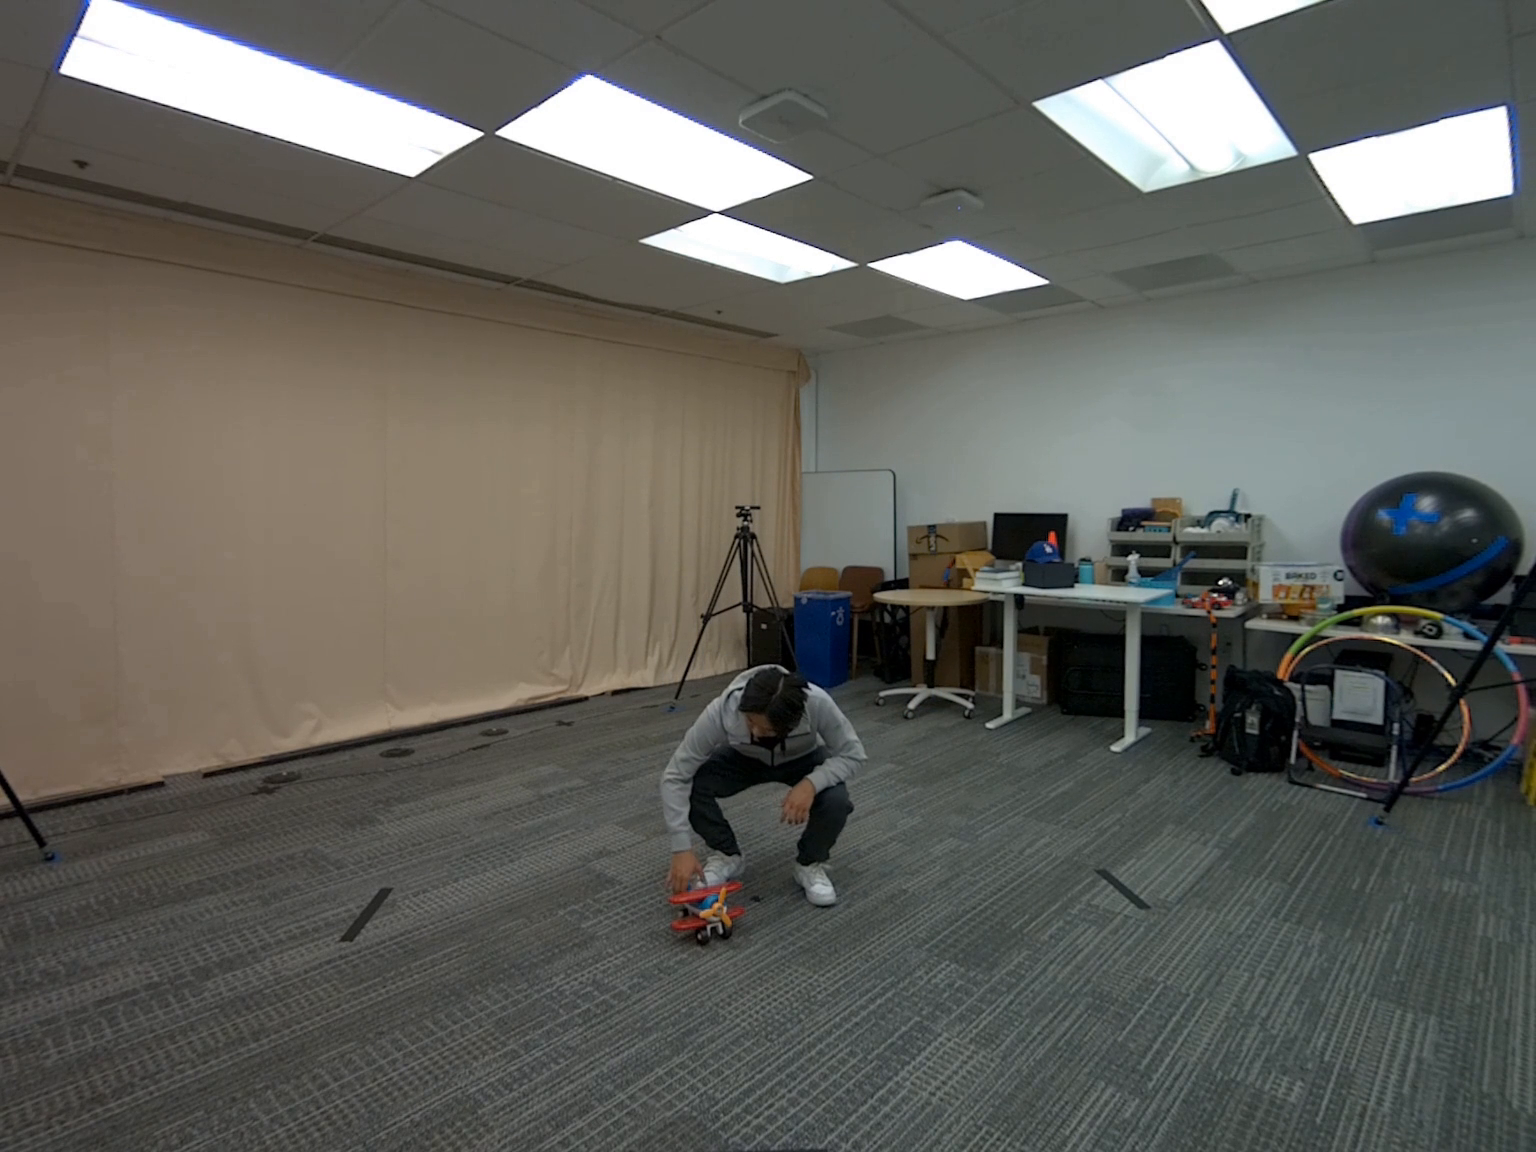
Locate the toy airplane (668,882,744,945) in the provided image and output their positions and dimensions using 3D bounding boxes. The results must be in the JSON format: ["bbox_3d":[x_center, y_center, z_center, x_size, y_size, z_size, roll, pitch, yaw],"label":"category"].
[{"bbox_3d":[-0.227,1.086,2.759,0.267,0.156,0.244,3,7,35],"label":"toy airplane"}]
